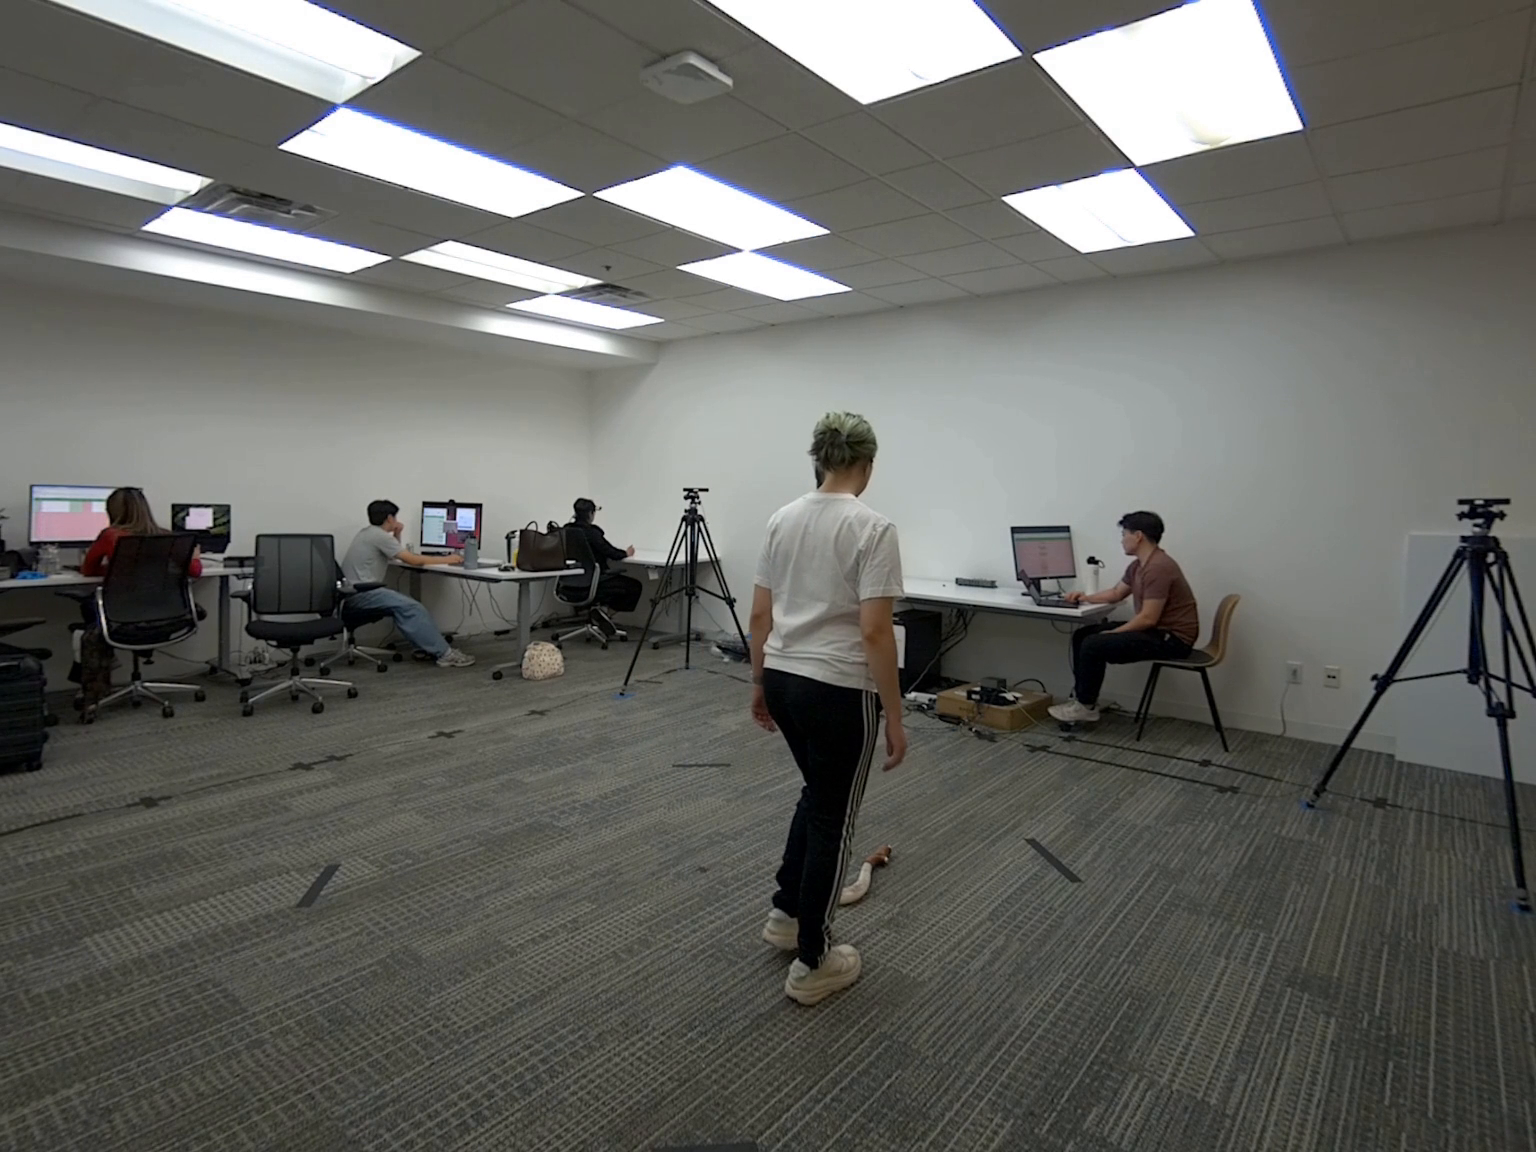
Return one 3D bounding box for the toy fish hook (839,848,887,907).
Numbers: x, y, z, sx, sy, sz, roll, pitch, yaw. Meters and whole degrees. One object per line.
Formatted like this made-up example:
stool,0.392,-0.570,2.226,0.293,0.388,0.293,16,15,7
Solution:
toy fish hook,0.291,1.060,3.079,0.231,0.048,0.494,6,7,29
